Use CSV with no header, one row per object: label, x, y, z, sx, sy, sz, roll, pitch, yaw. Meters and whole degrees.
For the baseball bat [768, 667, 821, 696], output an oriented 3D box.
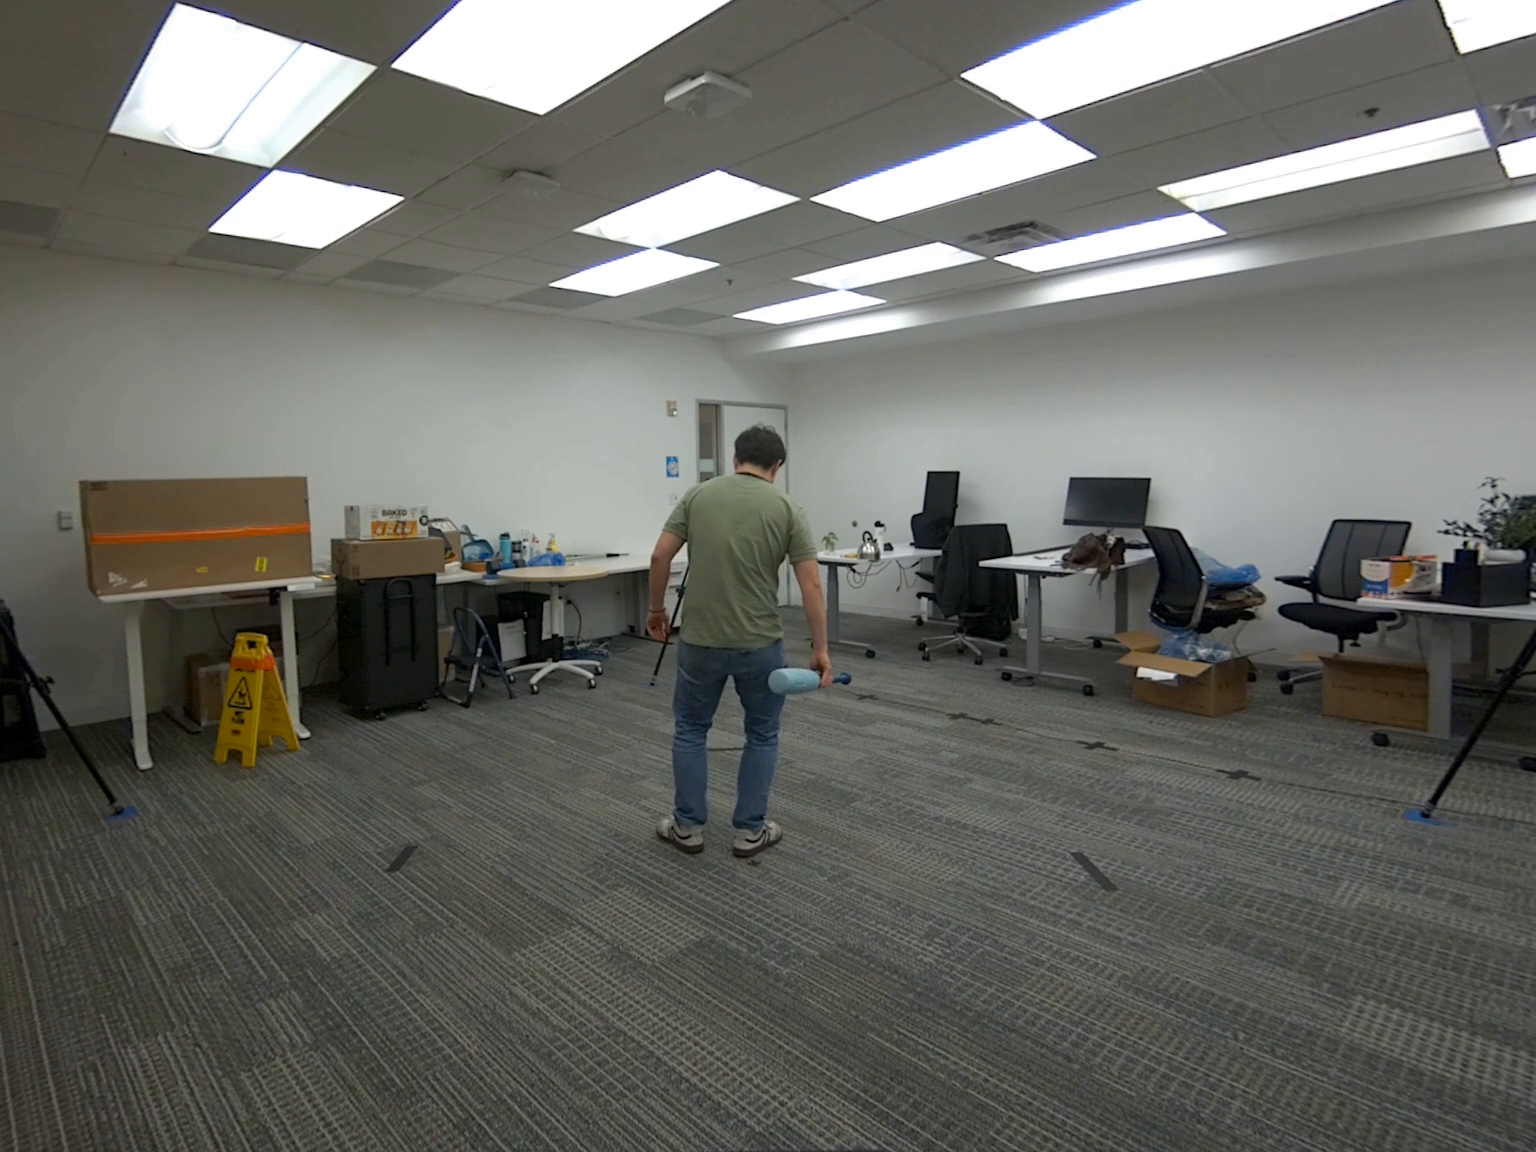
baseball bat,0.155,0.379,3.105,0.091,0.089,0.527,2,-4,27
